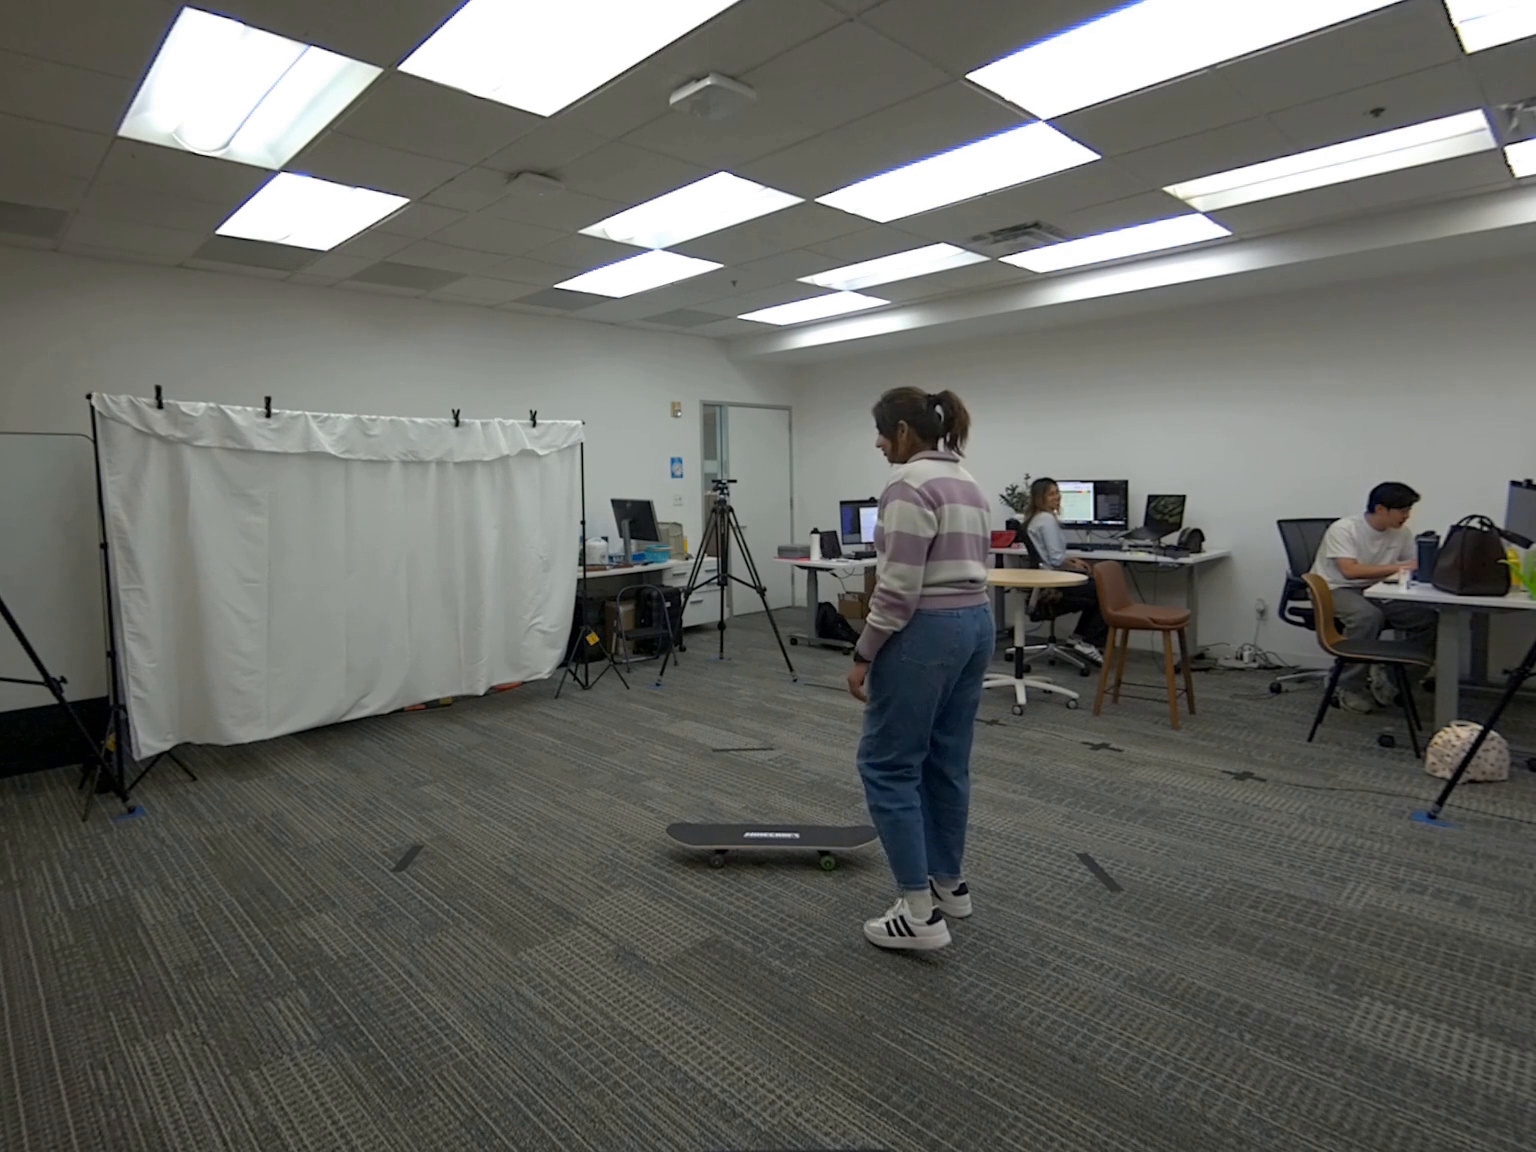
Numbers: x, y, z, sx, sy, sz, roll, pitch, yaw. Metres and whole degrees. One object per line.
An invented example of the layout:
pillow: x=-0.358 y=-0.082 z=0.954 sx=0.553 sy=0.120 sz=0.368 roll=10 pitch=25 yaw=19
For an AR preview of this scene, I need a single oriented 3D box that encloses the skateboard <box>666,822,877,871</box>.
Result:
skateboard: x=0.018 y=0.981 z=3.142 sx=0.789 sy=0.110 sz=0.193 roll=0 pitch=6 yaw=5
